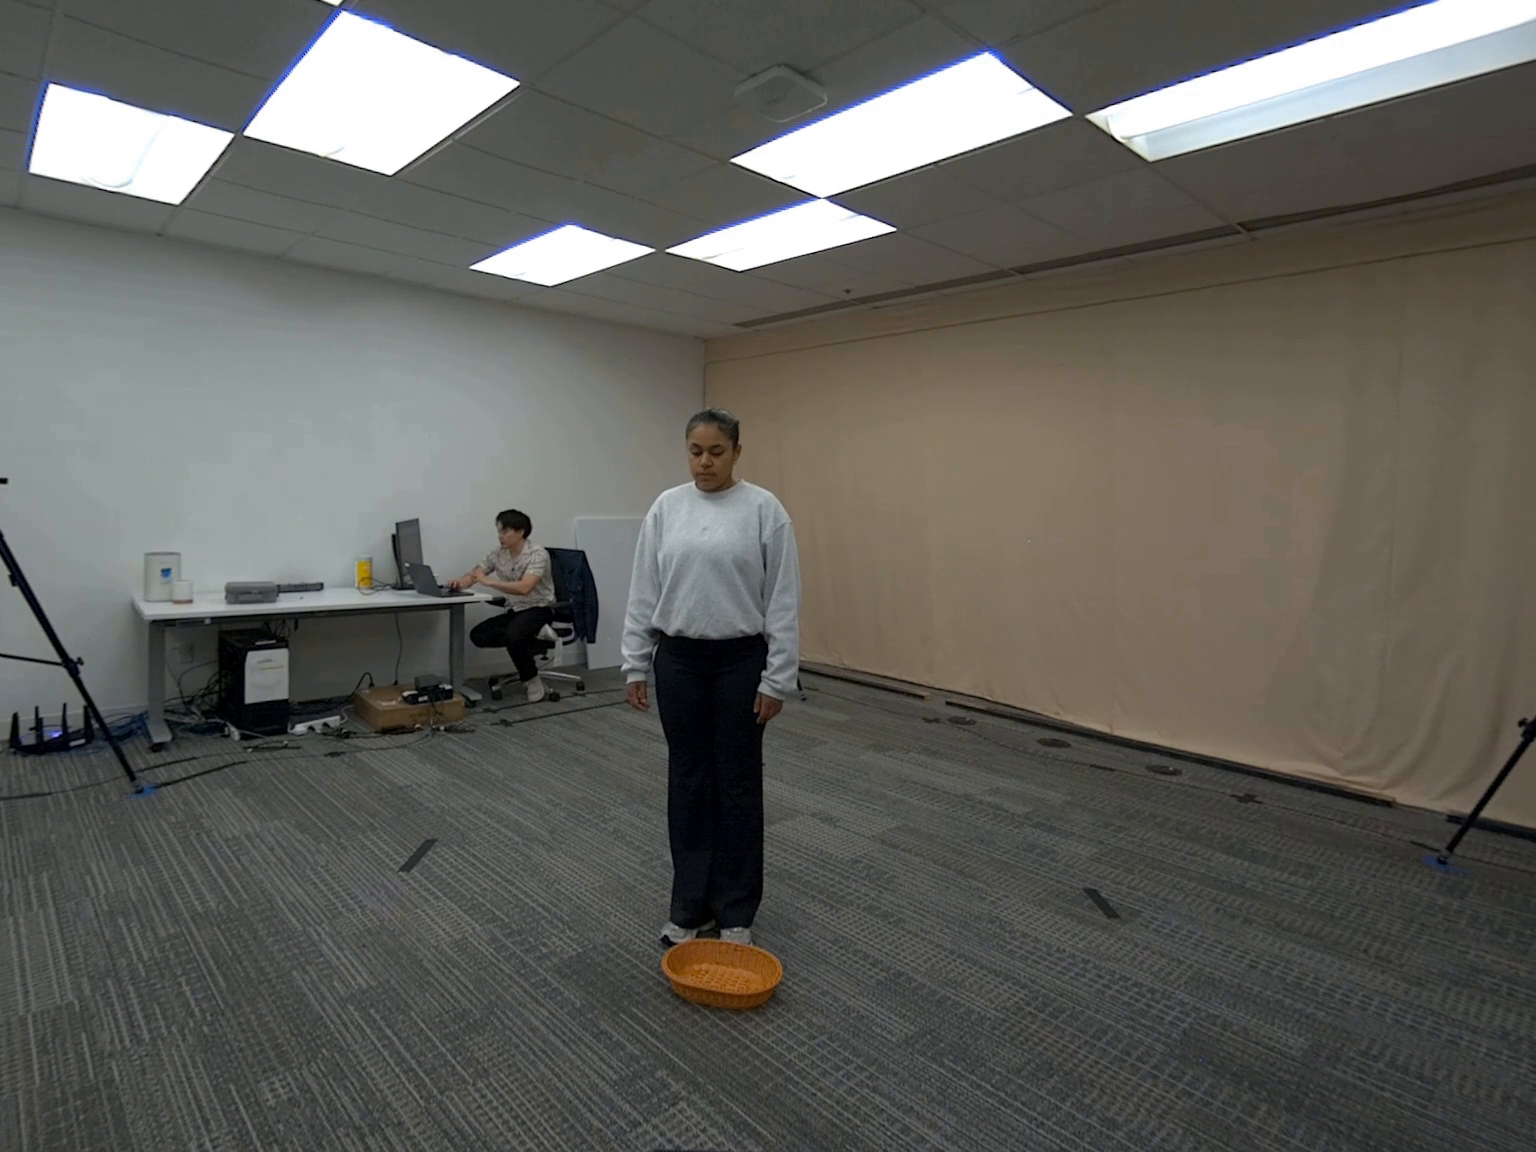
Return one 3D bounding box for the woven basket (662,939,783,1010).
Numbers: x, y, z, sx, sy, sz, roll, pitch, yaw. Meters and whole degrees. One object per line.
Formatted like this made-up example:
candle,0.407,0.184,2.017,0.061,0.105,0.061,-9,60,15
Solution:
woven basket,-0.145,1.136,2.390,0.355,0.073,0.250,3,6,17
